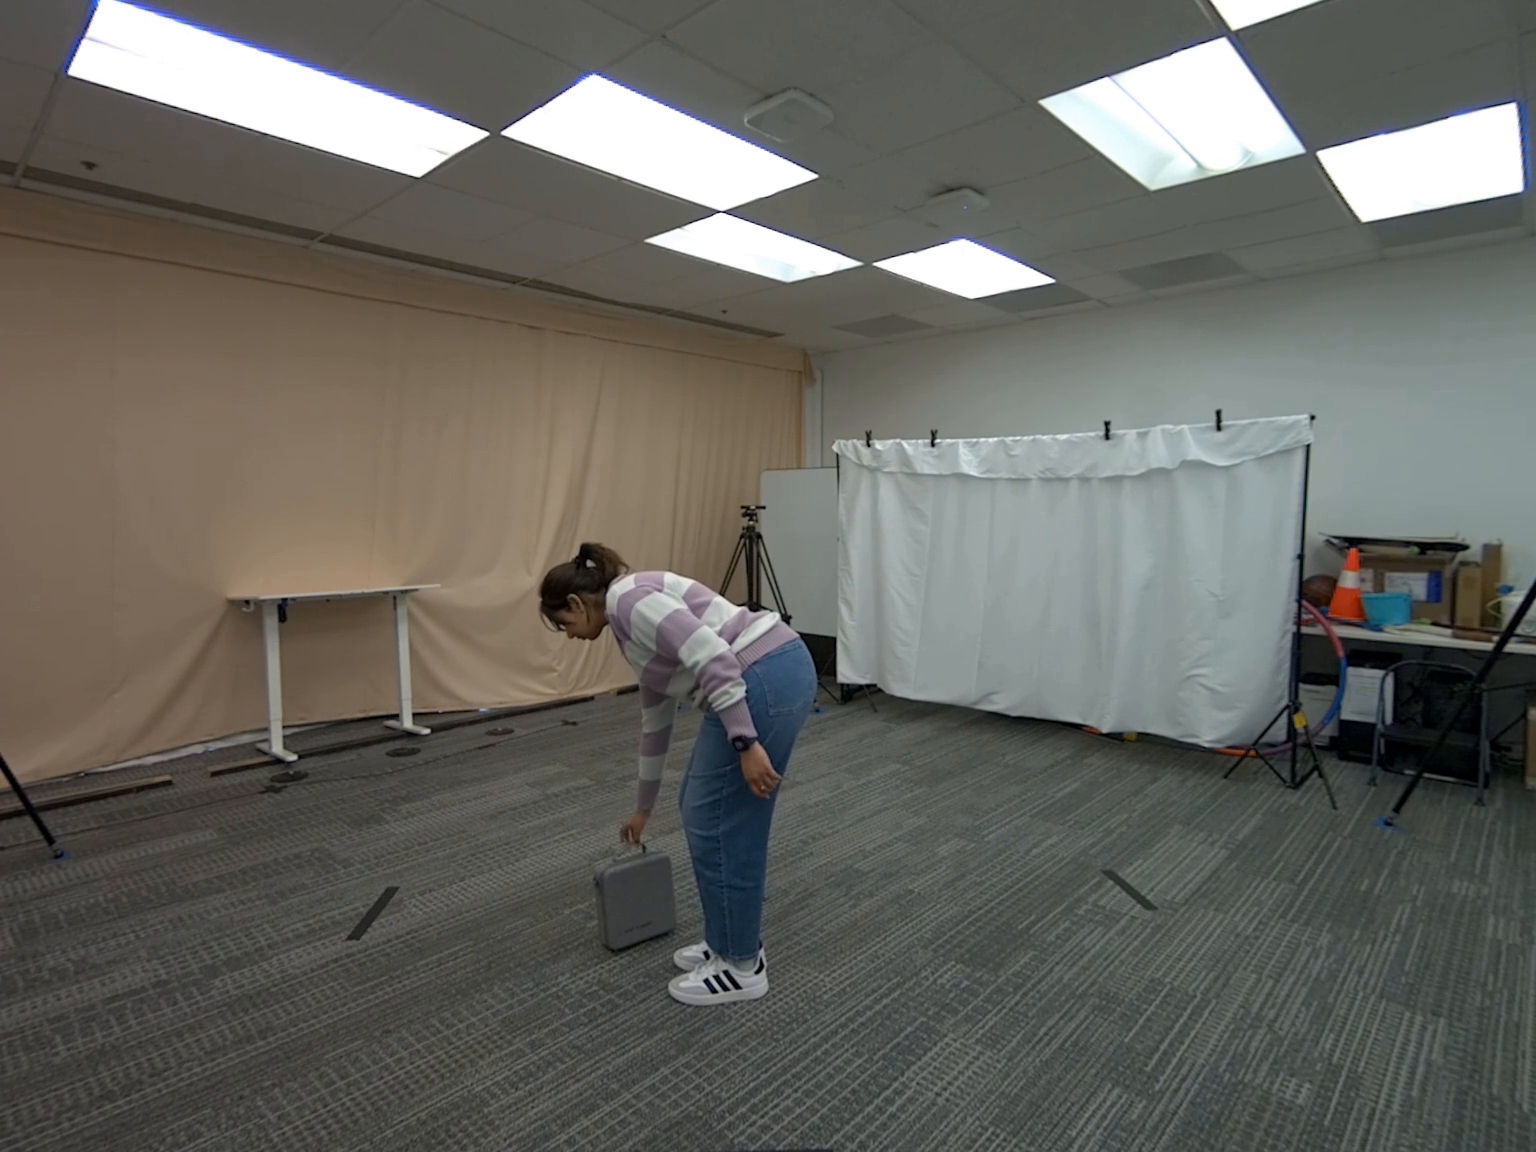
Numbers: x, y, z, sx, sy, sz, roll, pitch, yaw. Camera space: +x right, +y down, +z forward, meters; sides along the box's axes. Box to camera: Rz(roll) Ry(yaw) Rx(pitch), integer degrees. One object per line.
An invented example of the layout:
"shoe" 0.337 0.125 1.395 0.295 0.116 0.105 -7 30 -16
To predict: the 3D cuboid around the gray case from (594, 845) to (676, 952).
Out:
"gray case" -0.432 1.037 2.719 0.249 0.261 0.107 -3 -5 -36
